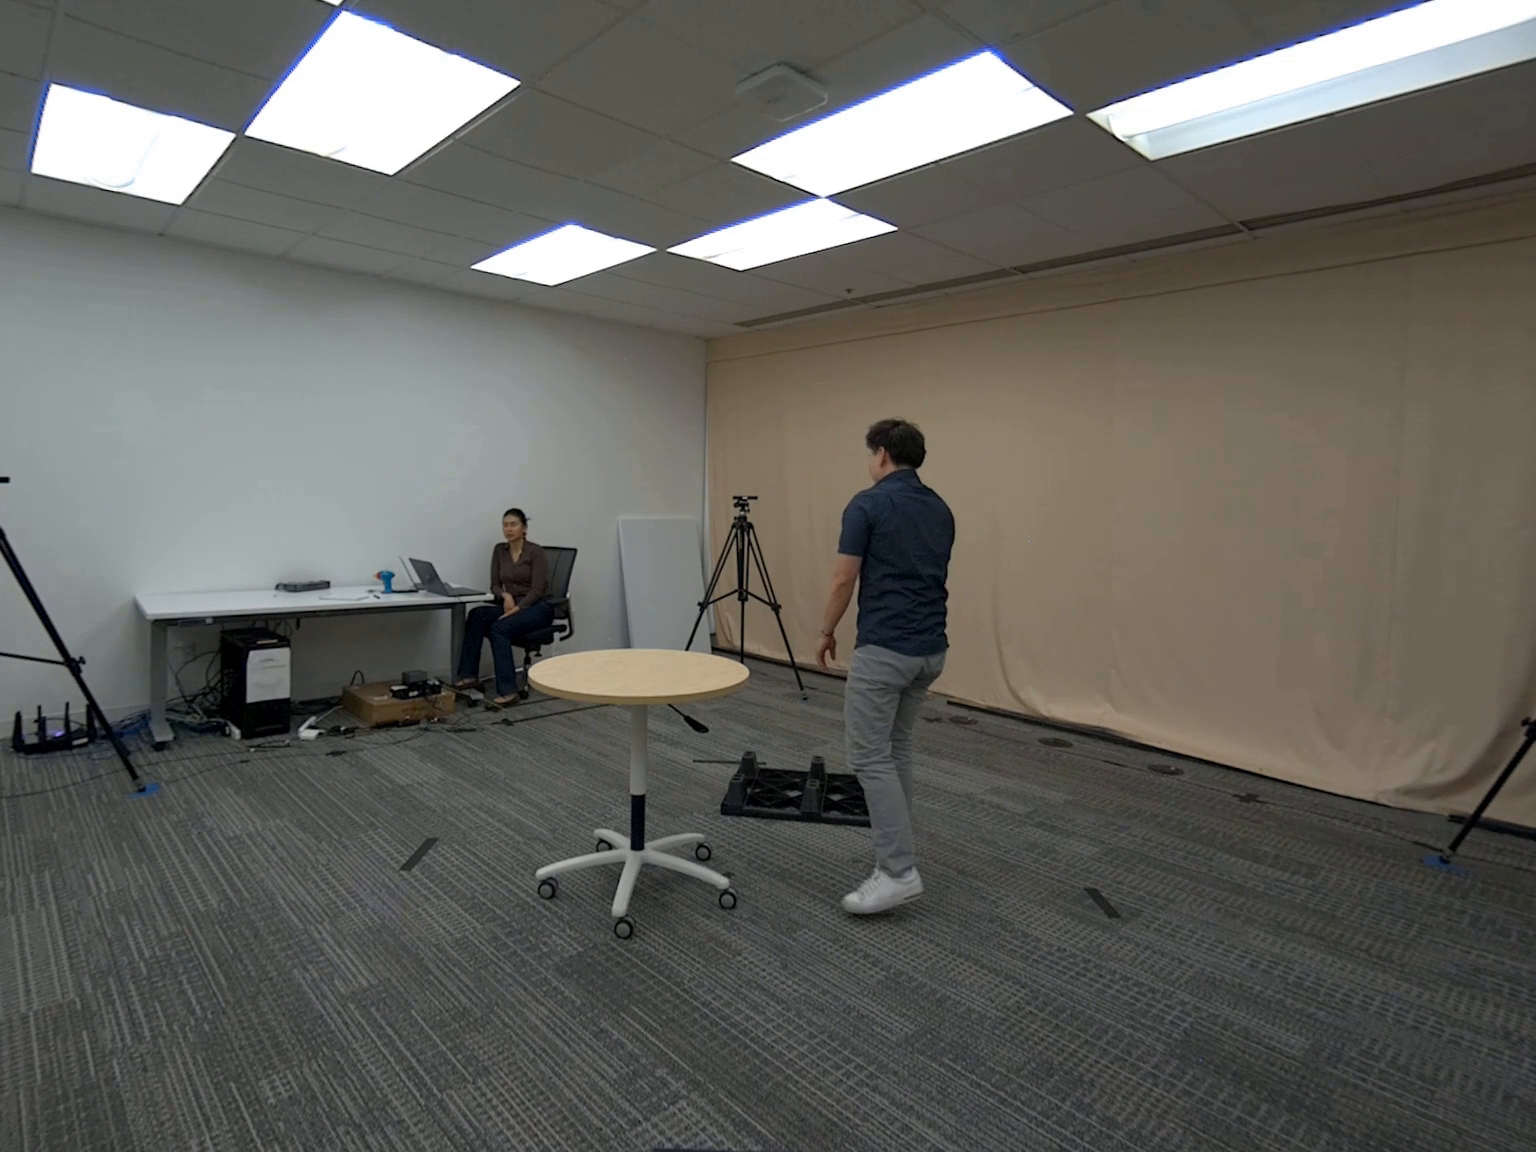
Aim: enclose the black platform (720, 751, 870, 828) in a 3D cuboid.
[{"bbox_3d":[0.213,0.973,3.929,0.811,0.143,0.603,2,5,8],"label":"black platform"}]
